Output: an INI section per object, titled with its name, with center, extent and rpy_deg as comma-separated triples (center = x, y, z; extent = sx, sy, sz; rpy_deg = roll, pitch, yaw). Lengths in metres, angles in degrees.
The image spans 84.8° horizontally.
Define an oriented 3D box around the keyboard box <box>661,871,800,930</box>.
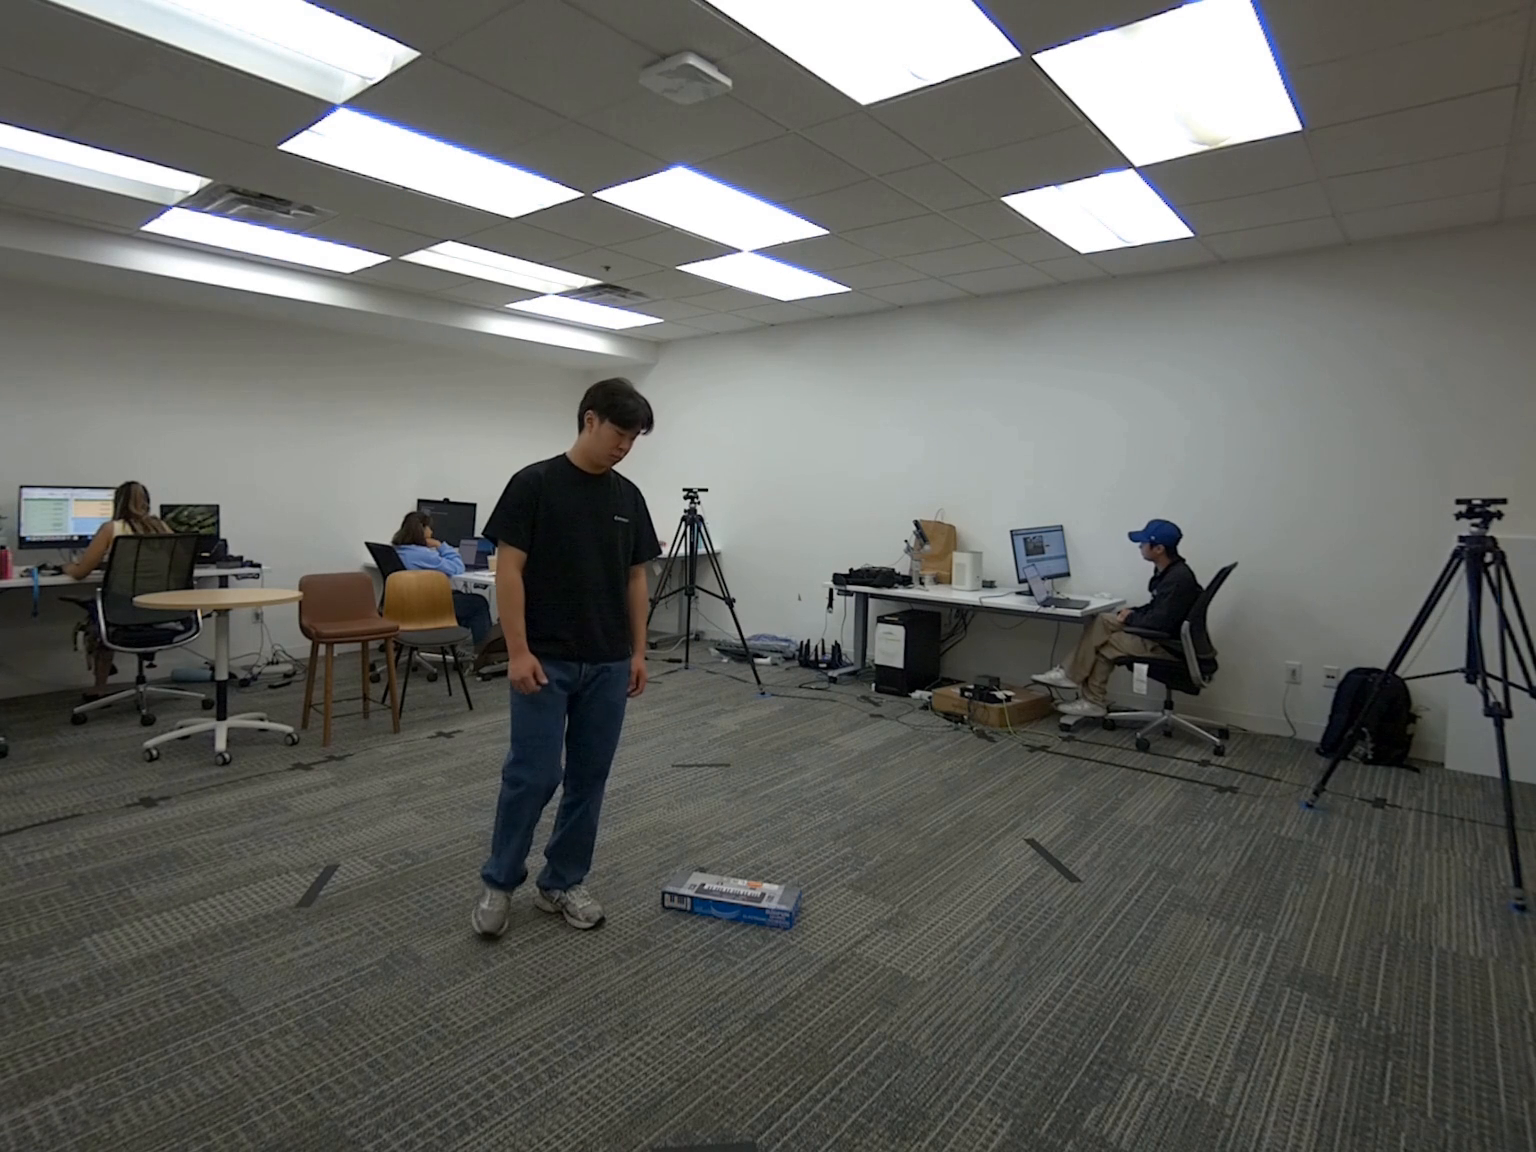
[keyboard box]
center = -0.127, 1.070, 2.826
extent = 0.445, 0.059, 0.173
rpy_deg = 3, 5, 16
